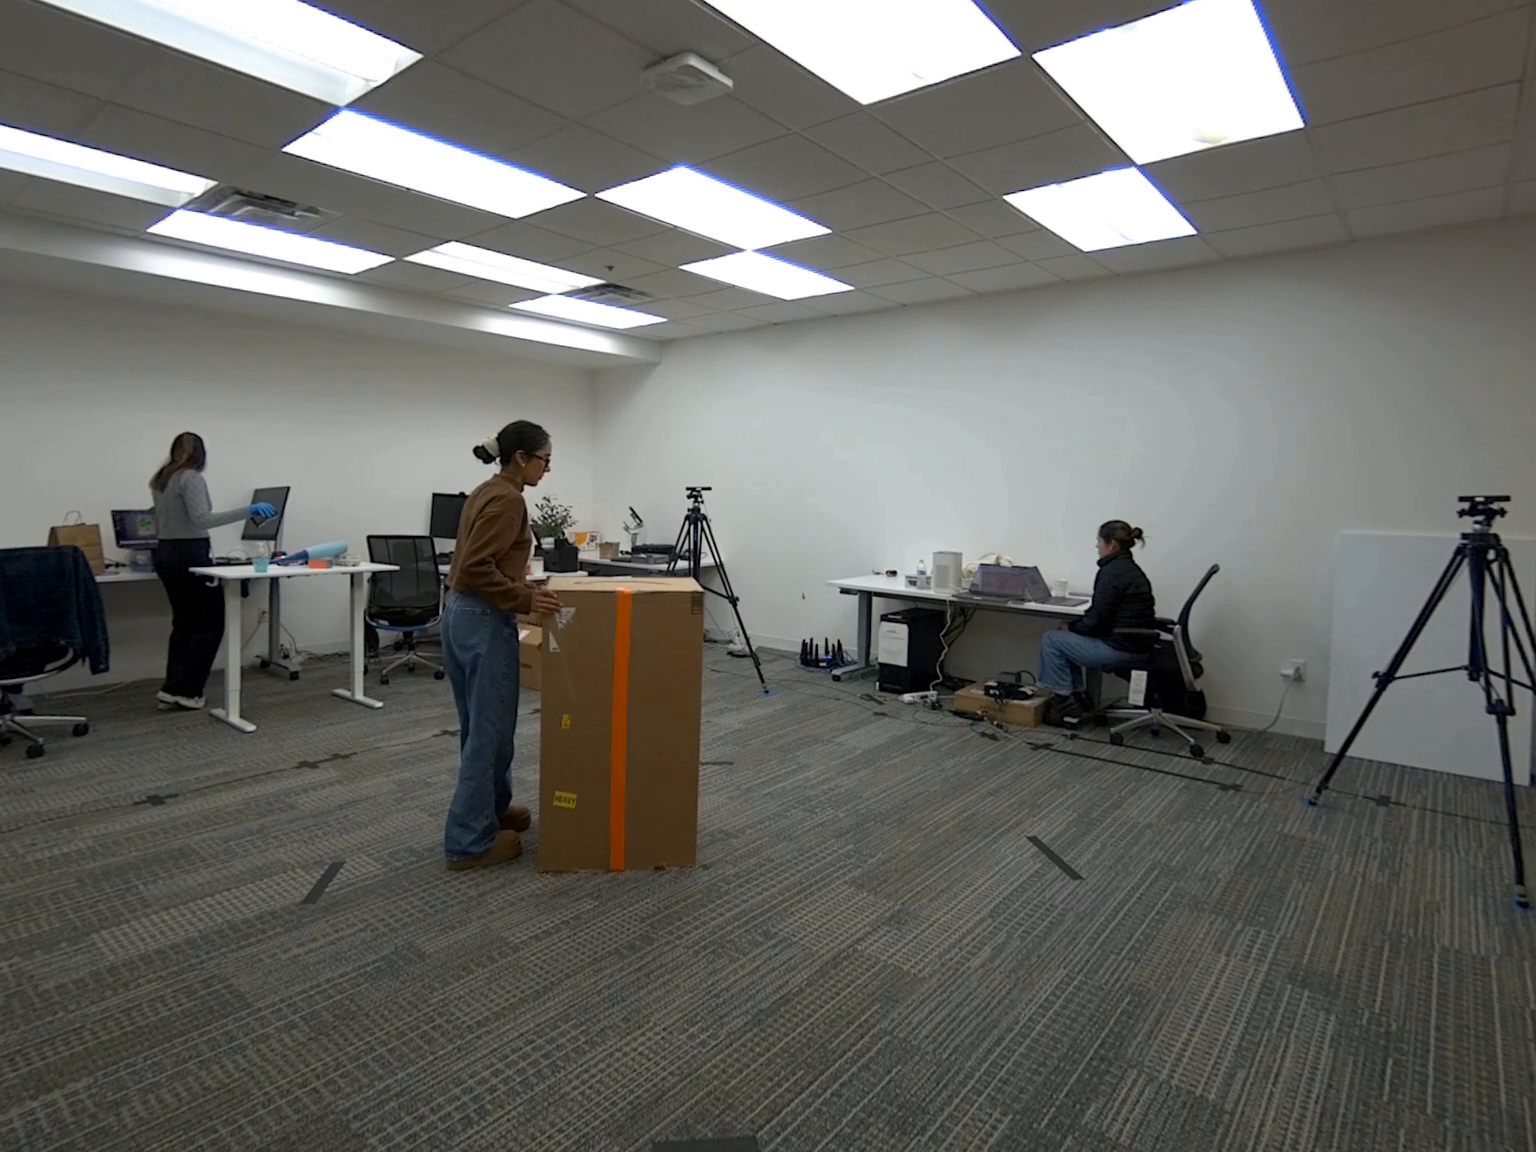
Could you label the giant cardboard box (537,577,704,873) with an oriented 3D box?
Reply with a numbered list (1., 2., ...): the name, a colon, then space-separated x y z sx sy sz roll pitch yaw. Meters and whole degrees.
1. giant cardboard box: -0.574 0.535 3.257 0.573 1.022 0.431 1 4 -8
